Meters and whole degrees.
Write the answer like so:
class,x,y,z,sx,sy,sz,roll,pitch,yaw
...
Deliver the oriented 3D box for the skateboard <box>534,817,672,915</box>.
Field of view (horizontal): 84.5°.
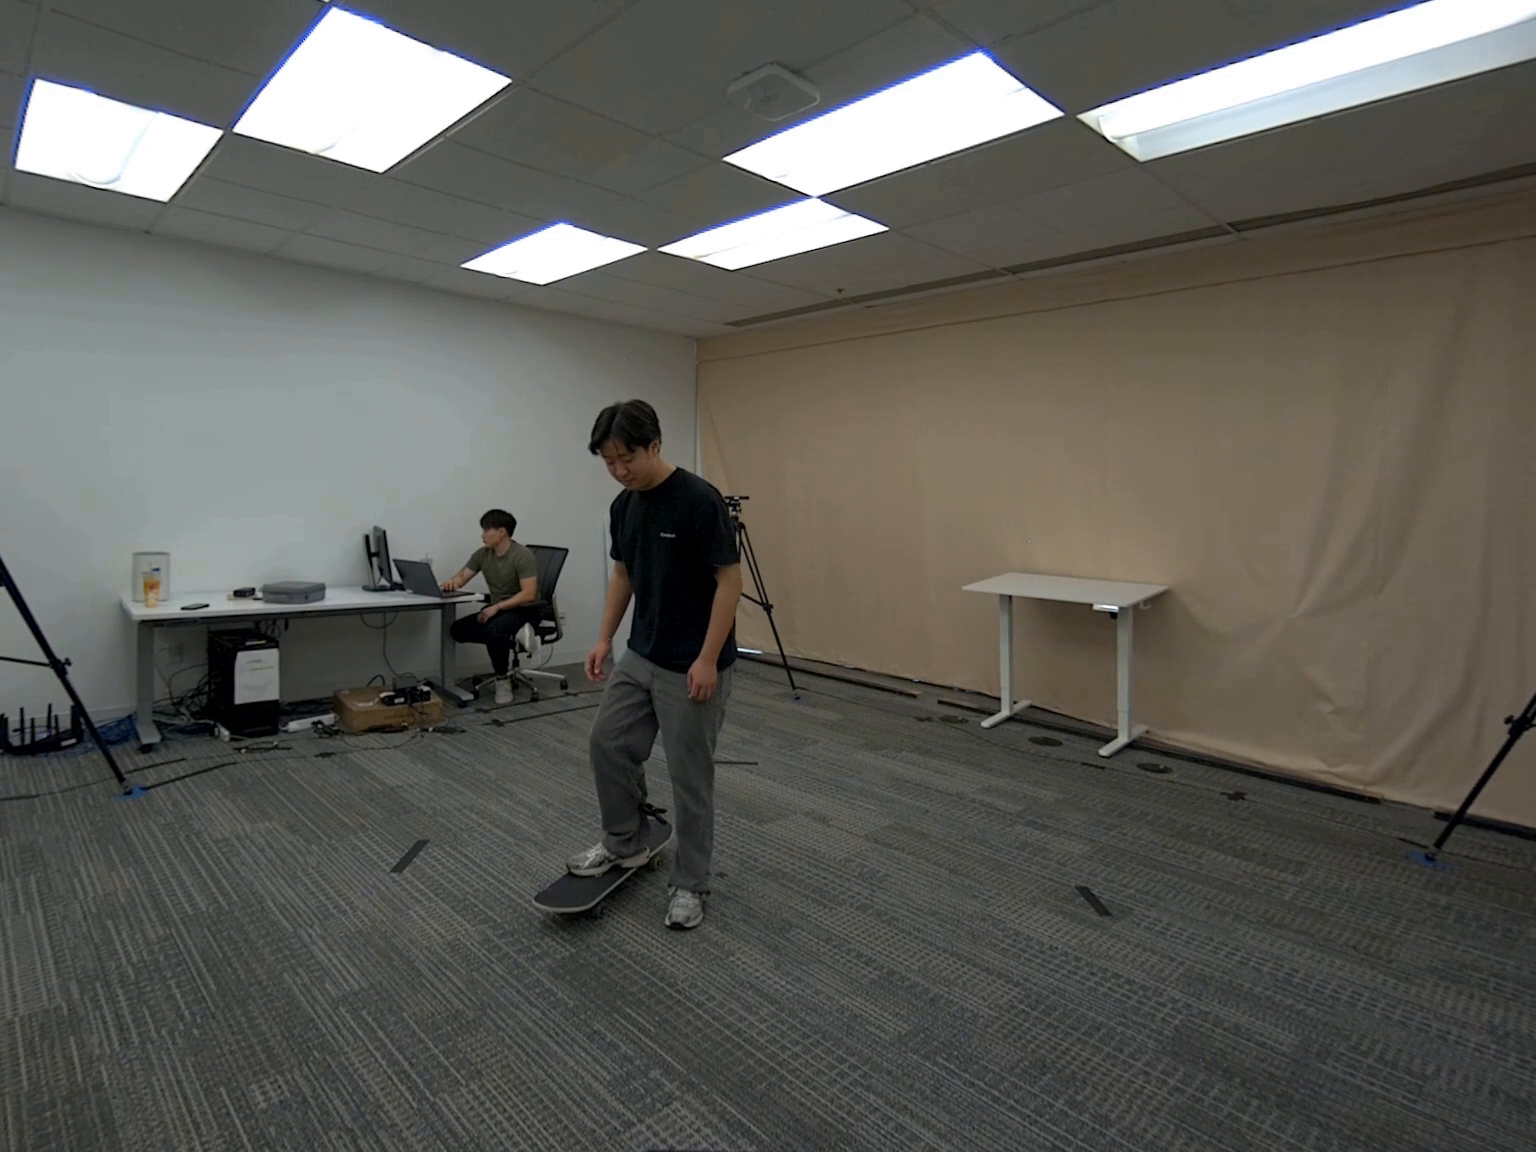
class,x,y,z,sx,sy,sz,roll,pitch,yaw
skateboard,-0.571,1.052,2.974,0.196,0.110,0.775,3,5,18
